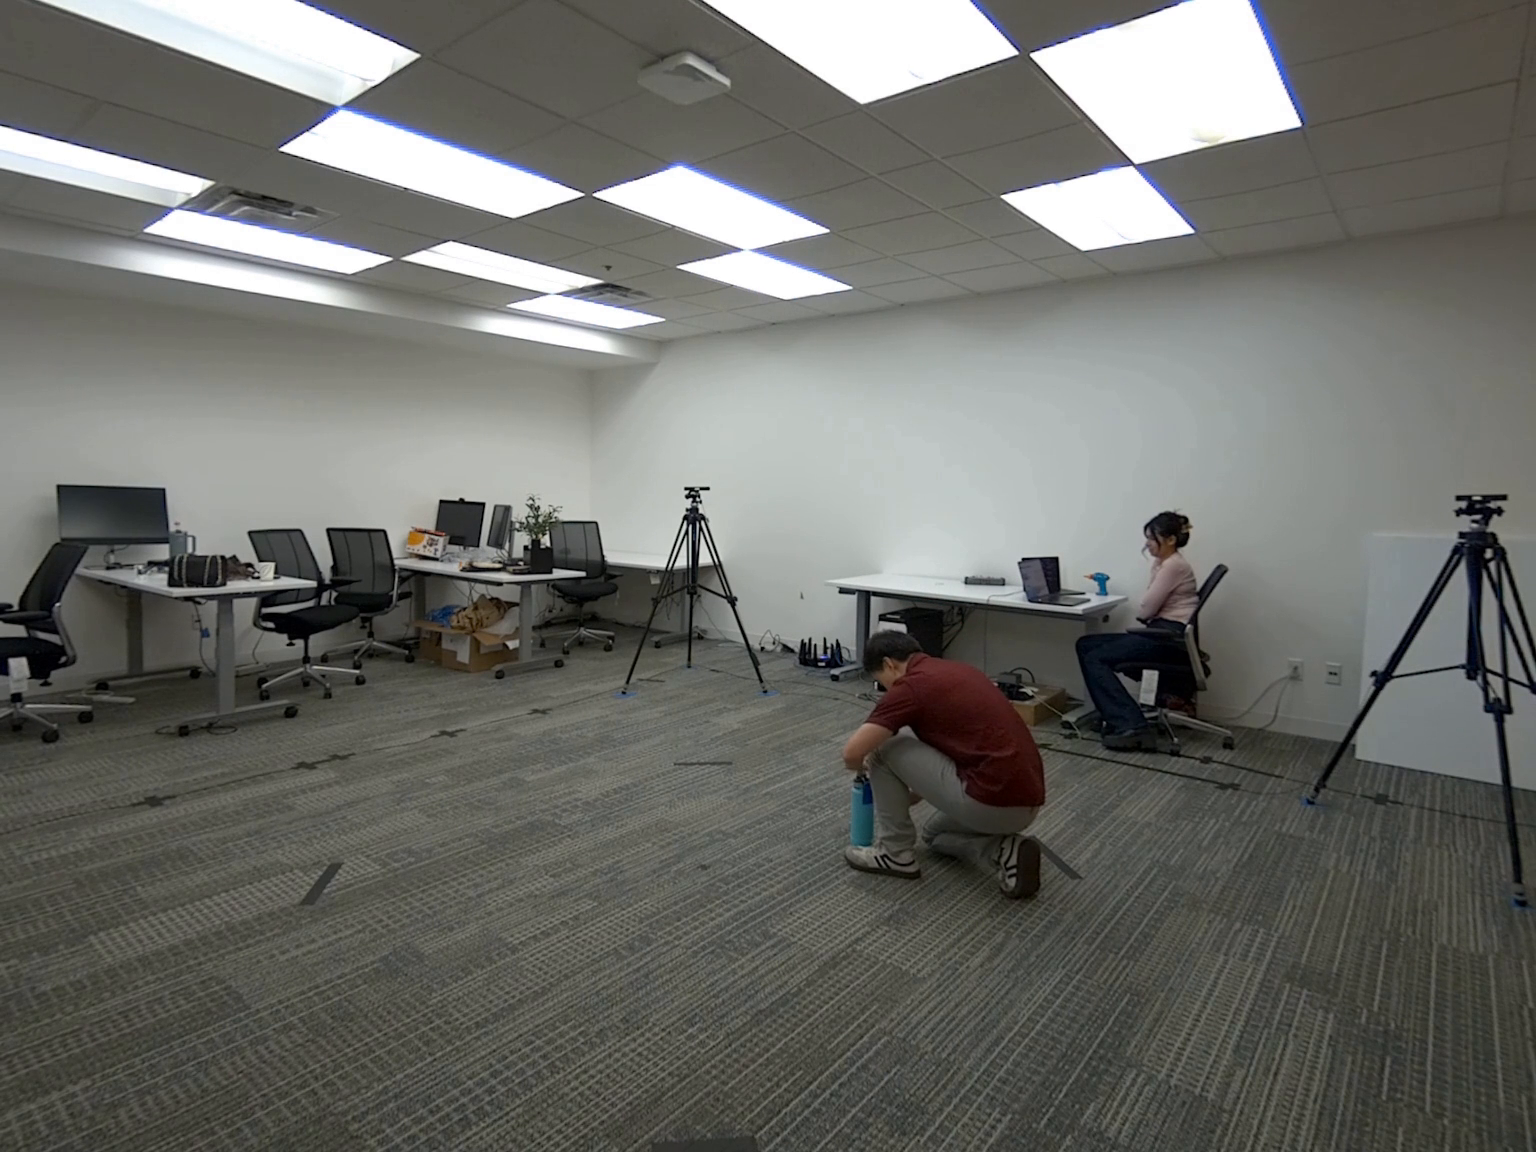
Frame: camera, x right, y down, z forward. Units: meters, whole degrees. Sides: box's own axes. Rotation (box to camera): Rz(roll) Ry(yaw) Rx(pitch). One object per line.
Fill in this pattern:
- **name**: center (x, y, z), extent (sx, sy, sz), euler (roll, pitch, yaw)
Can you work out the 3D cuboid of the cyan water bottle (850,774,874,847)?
- **cyan water bottle**: center (0.369, 0.916, 3.347), extent (0.092, 0.282, 0.093), euler (2, 6, -2)
